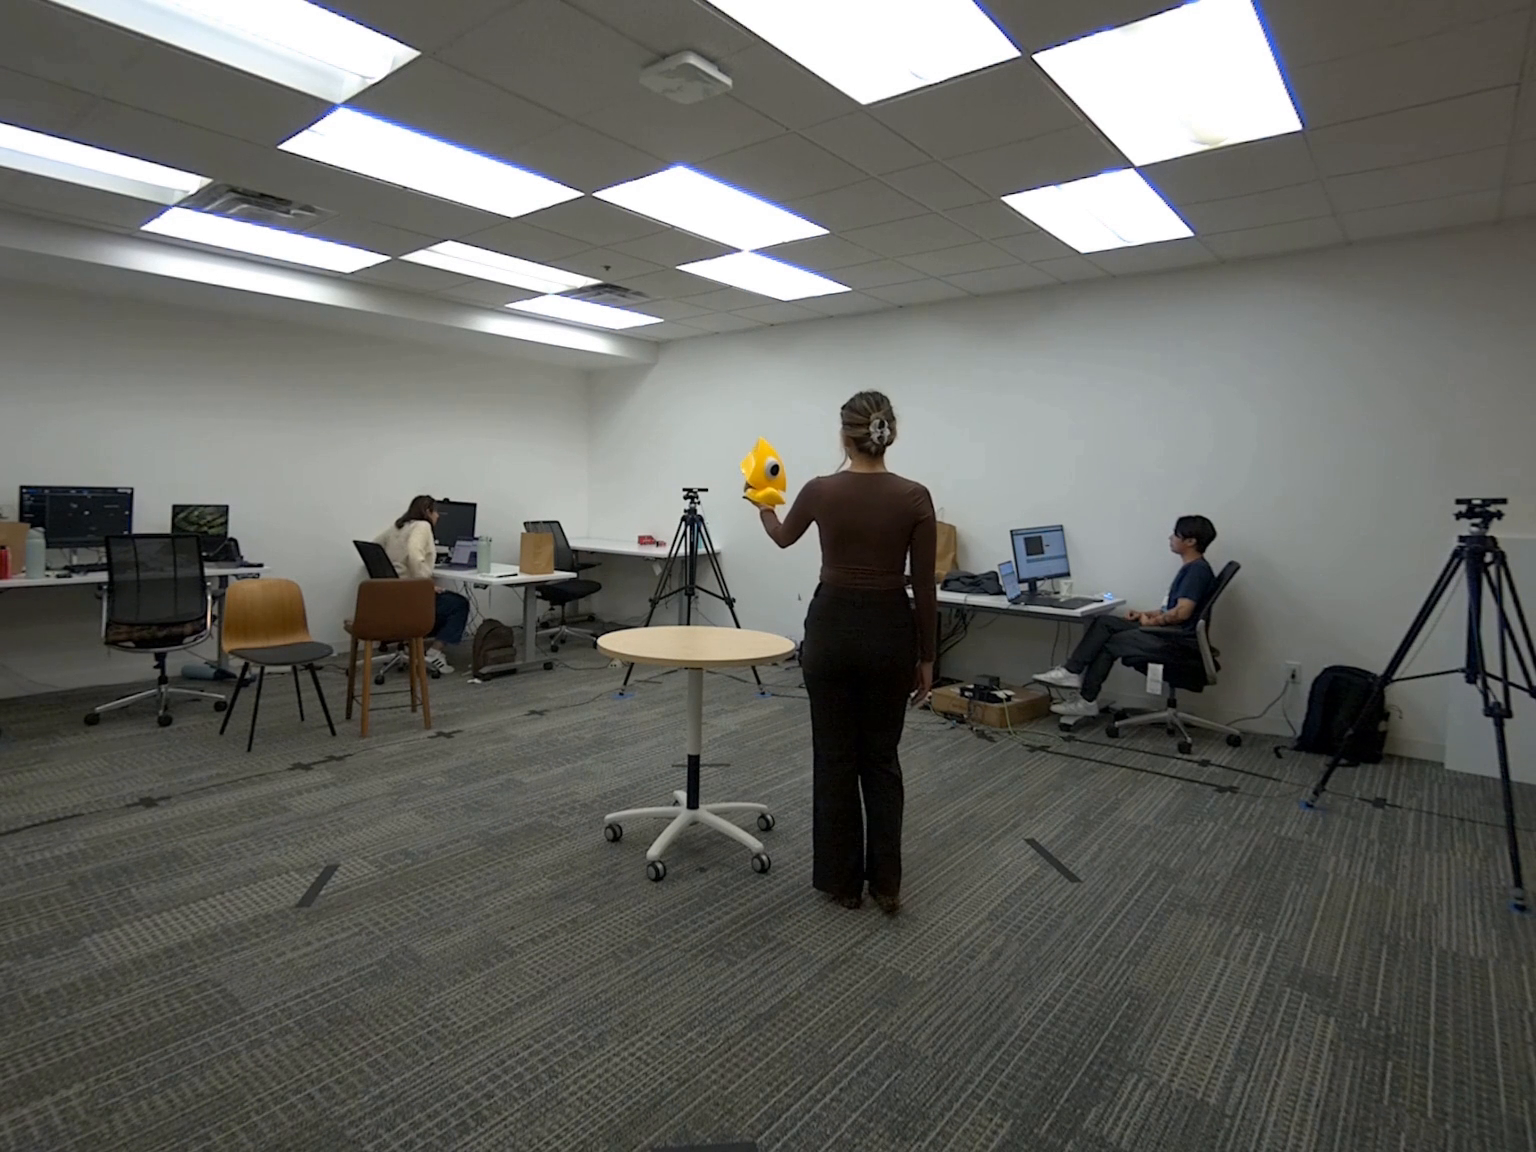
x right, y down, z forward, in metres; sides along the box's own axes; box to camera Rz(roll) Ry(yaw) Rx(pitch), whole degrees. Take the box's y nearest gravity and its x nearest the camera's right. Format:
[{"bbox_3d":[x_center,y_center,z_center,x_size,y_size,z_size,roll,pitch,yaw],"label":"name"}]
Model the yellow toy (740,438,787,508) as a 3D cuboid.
[{"bbox_3d":[-0.011,-0.427,3.326,0.190,0.227,0.211,9,22,-14],"label":"yellow toy"}]
